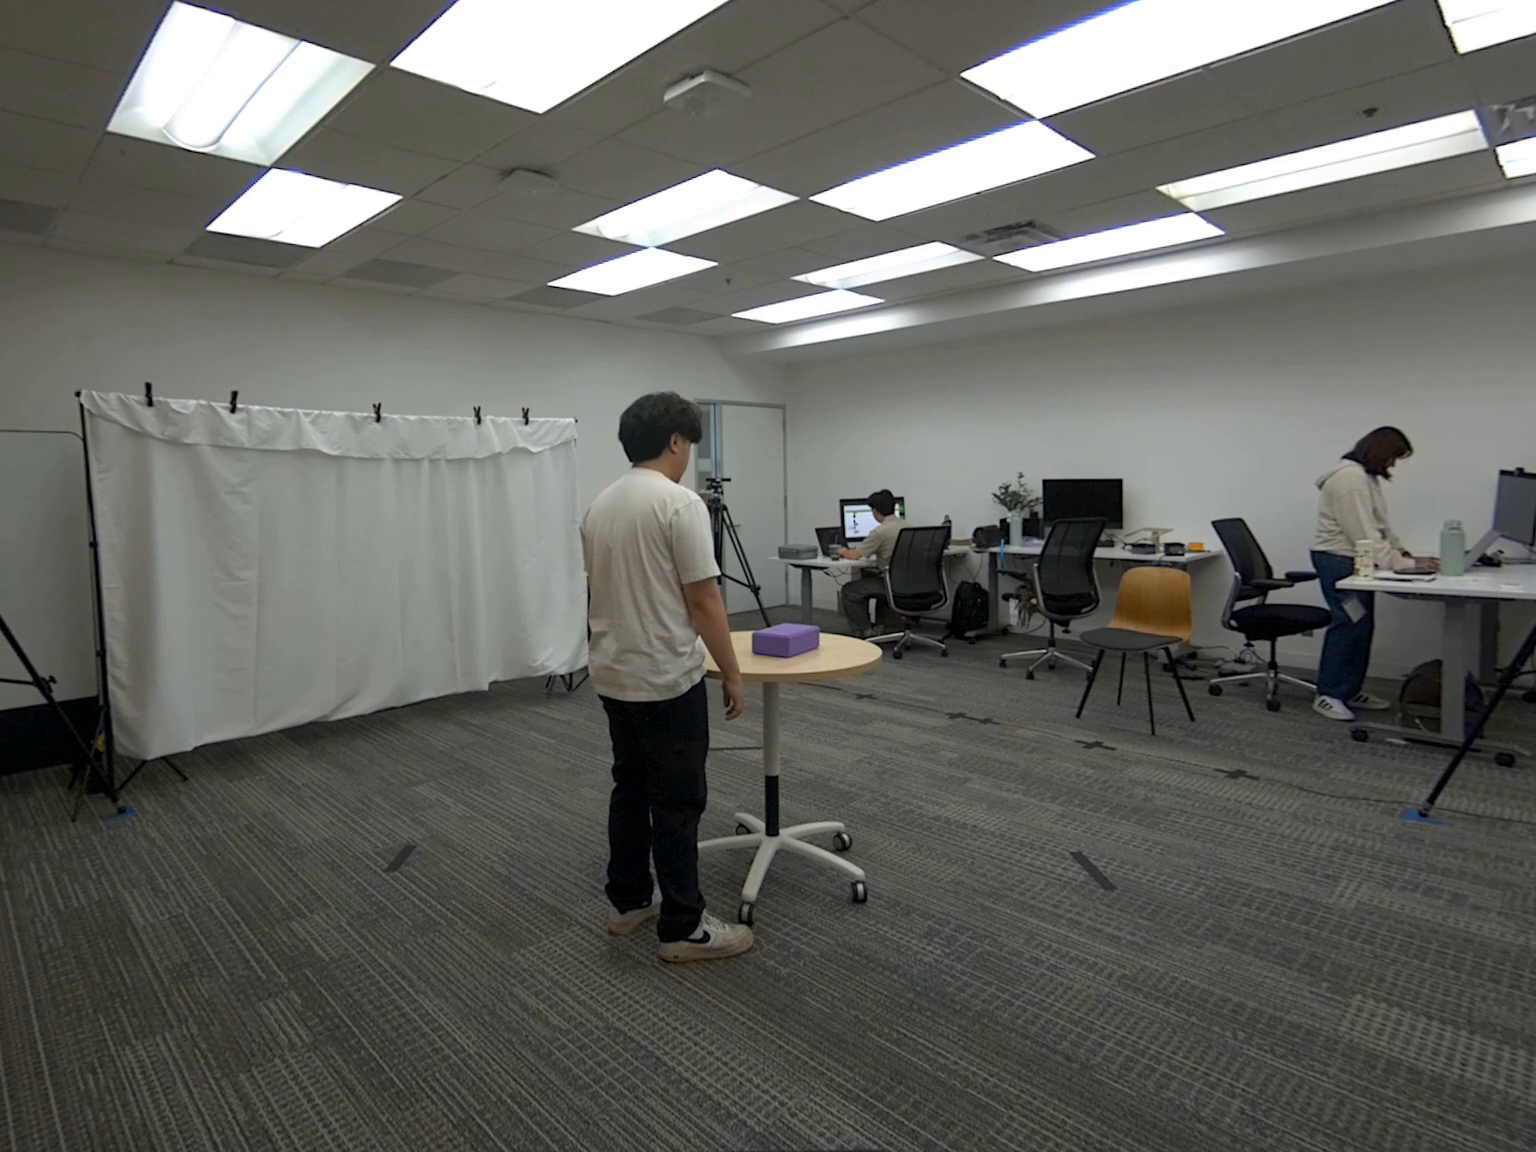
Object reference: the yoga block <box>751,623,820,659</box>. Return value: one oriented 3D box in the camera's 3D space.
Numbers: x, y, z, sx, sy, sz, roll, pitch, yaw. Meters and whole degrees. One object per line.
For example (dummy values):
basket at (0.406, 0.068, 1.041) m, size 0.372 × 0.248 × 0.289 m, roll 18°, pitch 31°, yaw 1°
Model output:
yoga block at (0.065, 0.221, 2.947) m, size 0.153 × 0.076 × 0.224 m, roll 3°, pitch 6°, yaw 32°
